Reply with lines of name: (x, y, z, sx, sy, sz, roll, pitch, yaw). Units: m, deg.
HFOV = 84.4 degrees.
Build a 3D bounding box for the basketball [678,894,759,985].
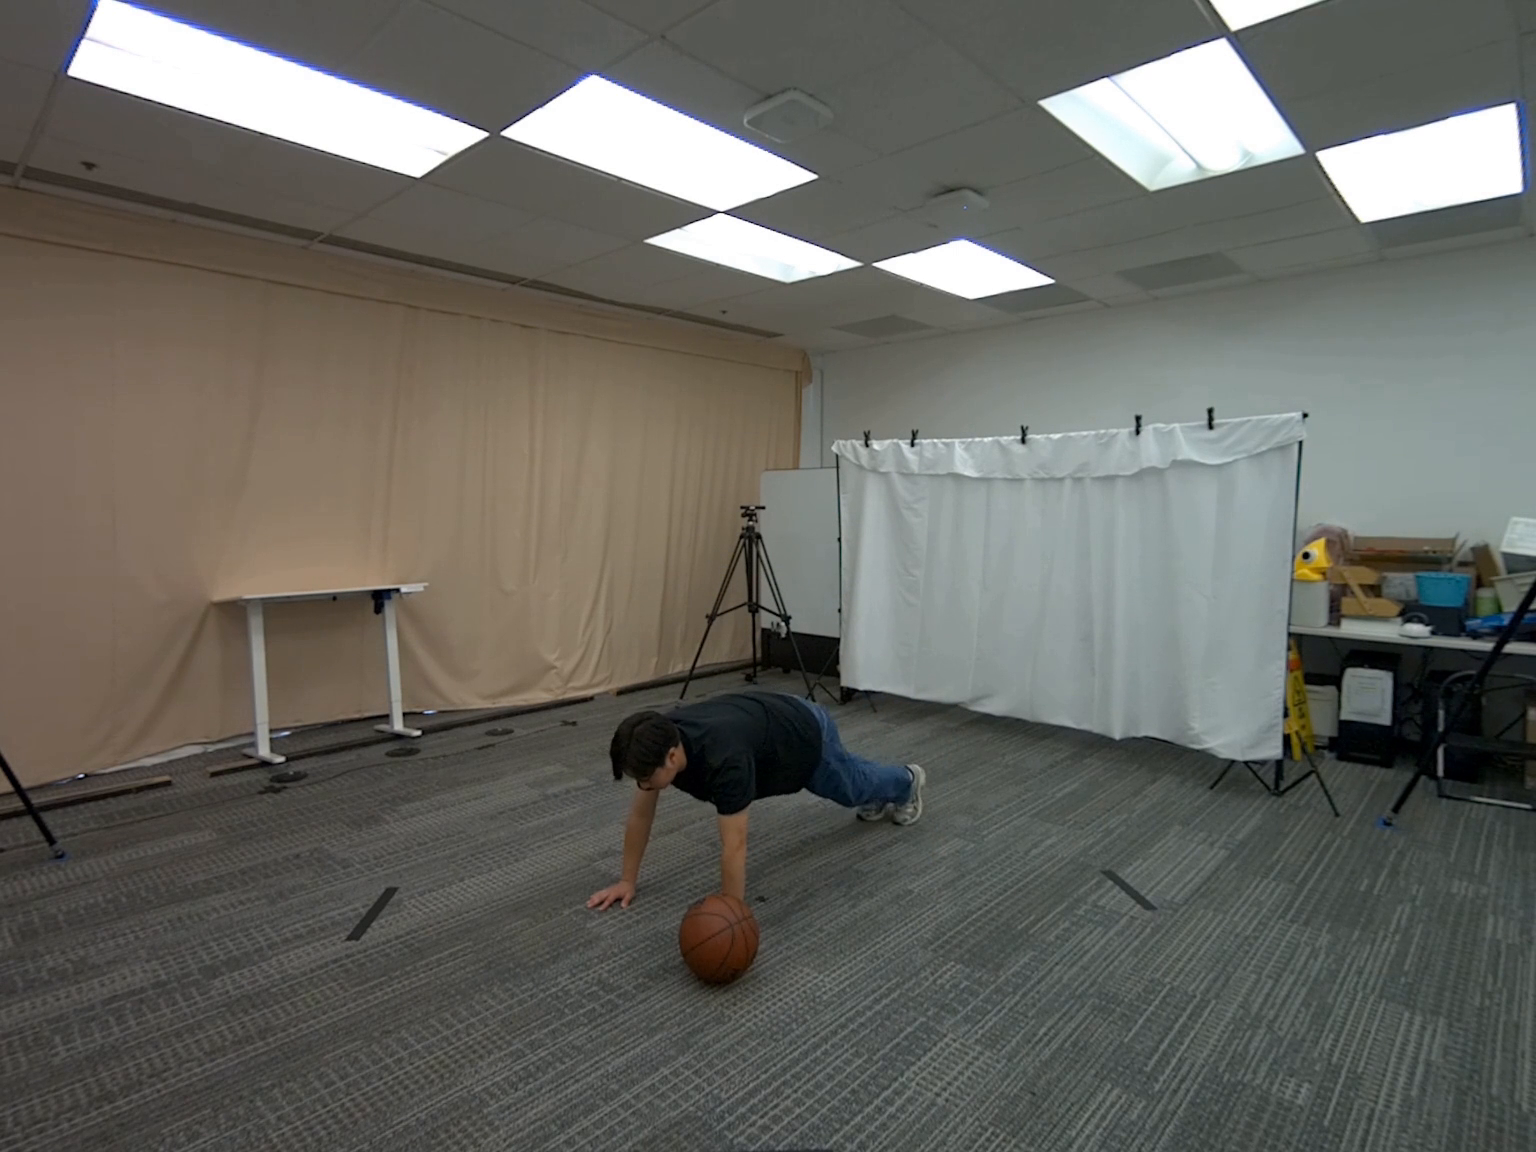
basketball: (-0.148, 1.060, 2.484, 0.236, 0.235, 0.237, 0, 4, -2)
